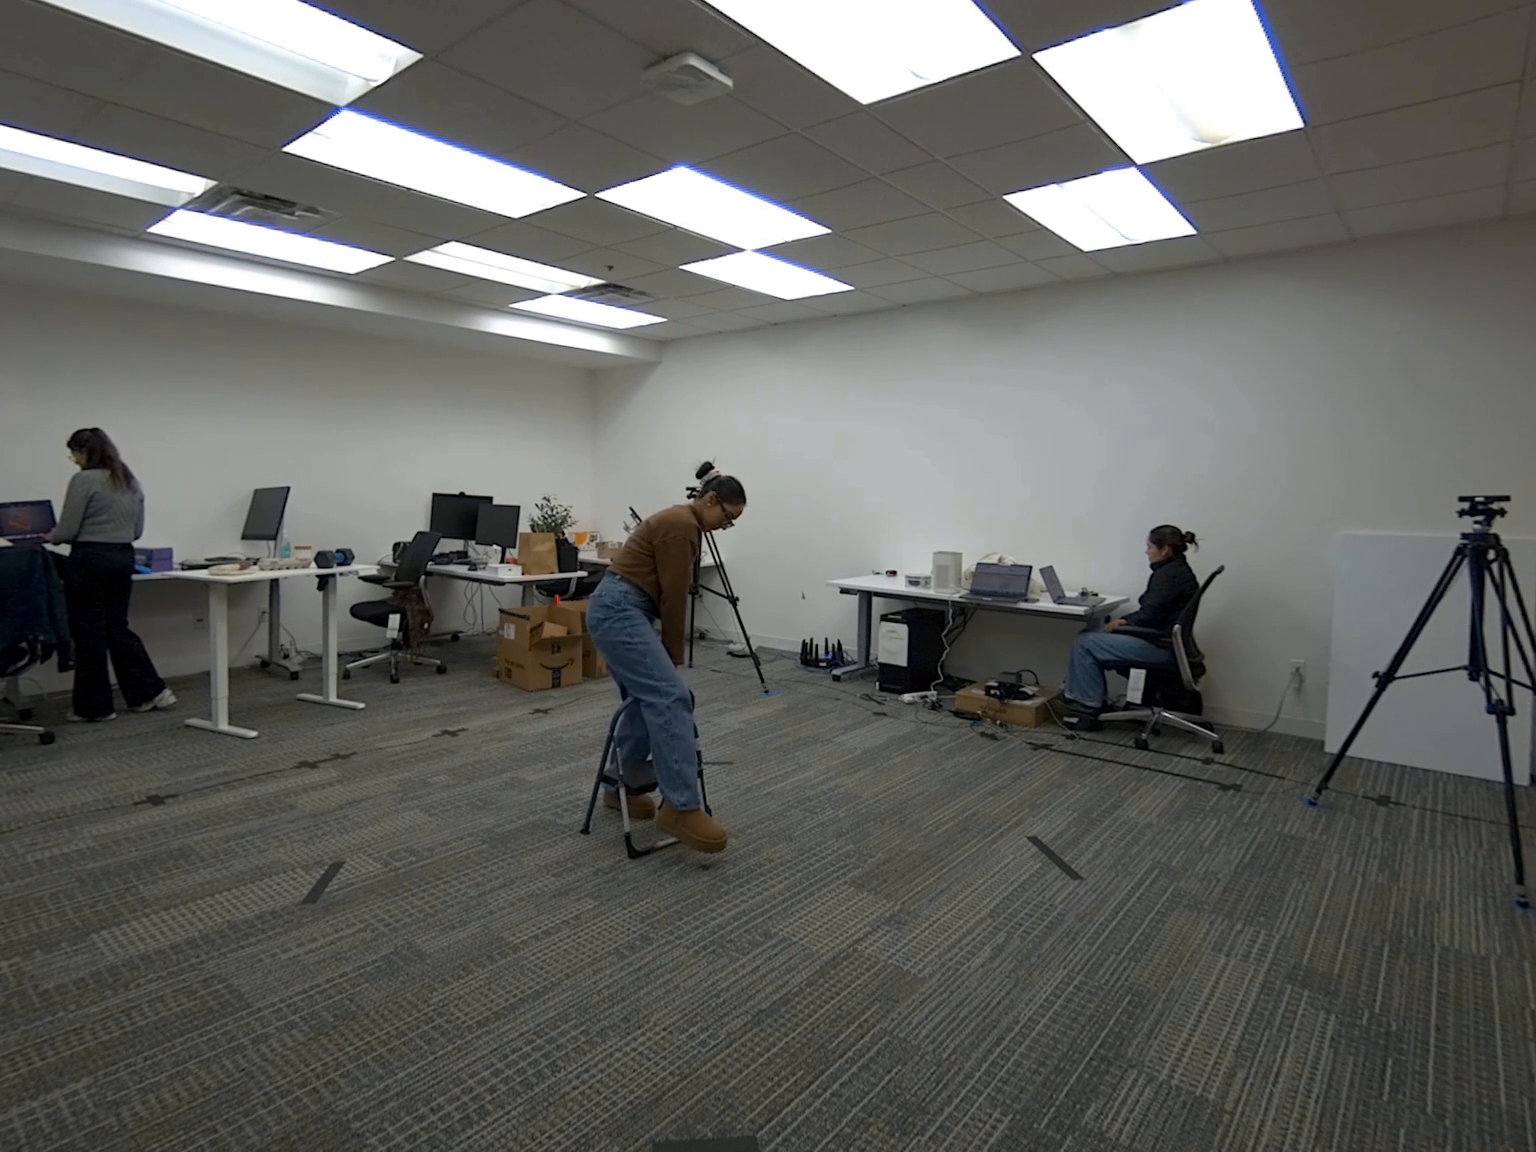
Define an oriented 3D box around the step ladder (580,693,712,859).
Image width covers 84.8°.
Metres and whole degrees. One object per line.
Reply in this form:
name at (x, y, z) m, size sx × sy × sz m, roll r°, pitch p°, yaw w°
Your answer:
step ladder at (-0.491, 0.729, 3.412) m, size 0.417 × 0.604 × 0.361 m, roll -3°, pitch 5°, yaw -44°
